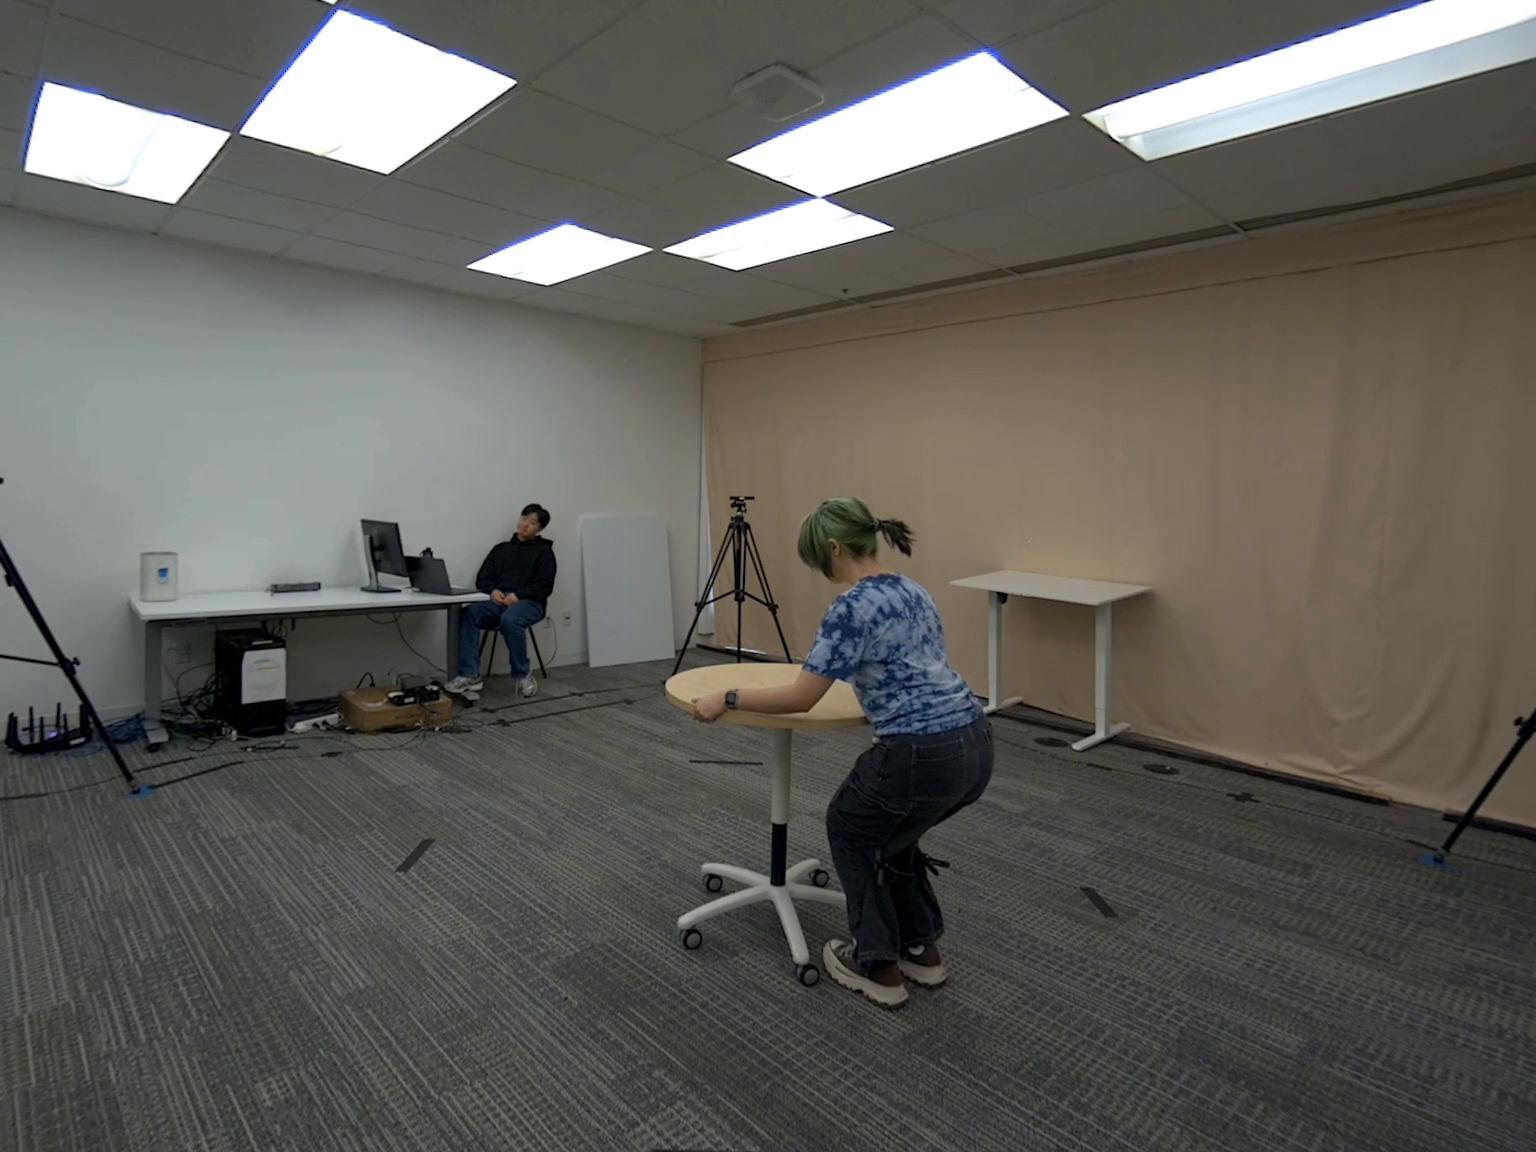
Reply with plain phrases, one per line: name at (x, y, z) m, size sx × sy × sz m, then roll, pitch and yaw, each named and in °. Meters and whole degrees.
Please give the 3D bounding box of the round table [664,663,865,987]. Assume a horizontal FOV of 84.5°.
round table at (0.031, 0.754, 2.726) m, size 0.763 × 0.792 × 0.767 m, roll 2°, pitch 4°, yaw -1°
